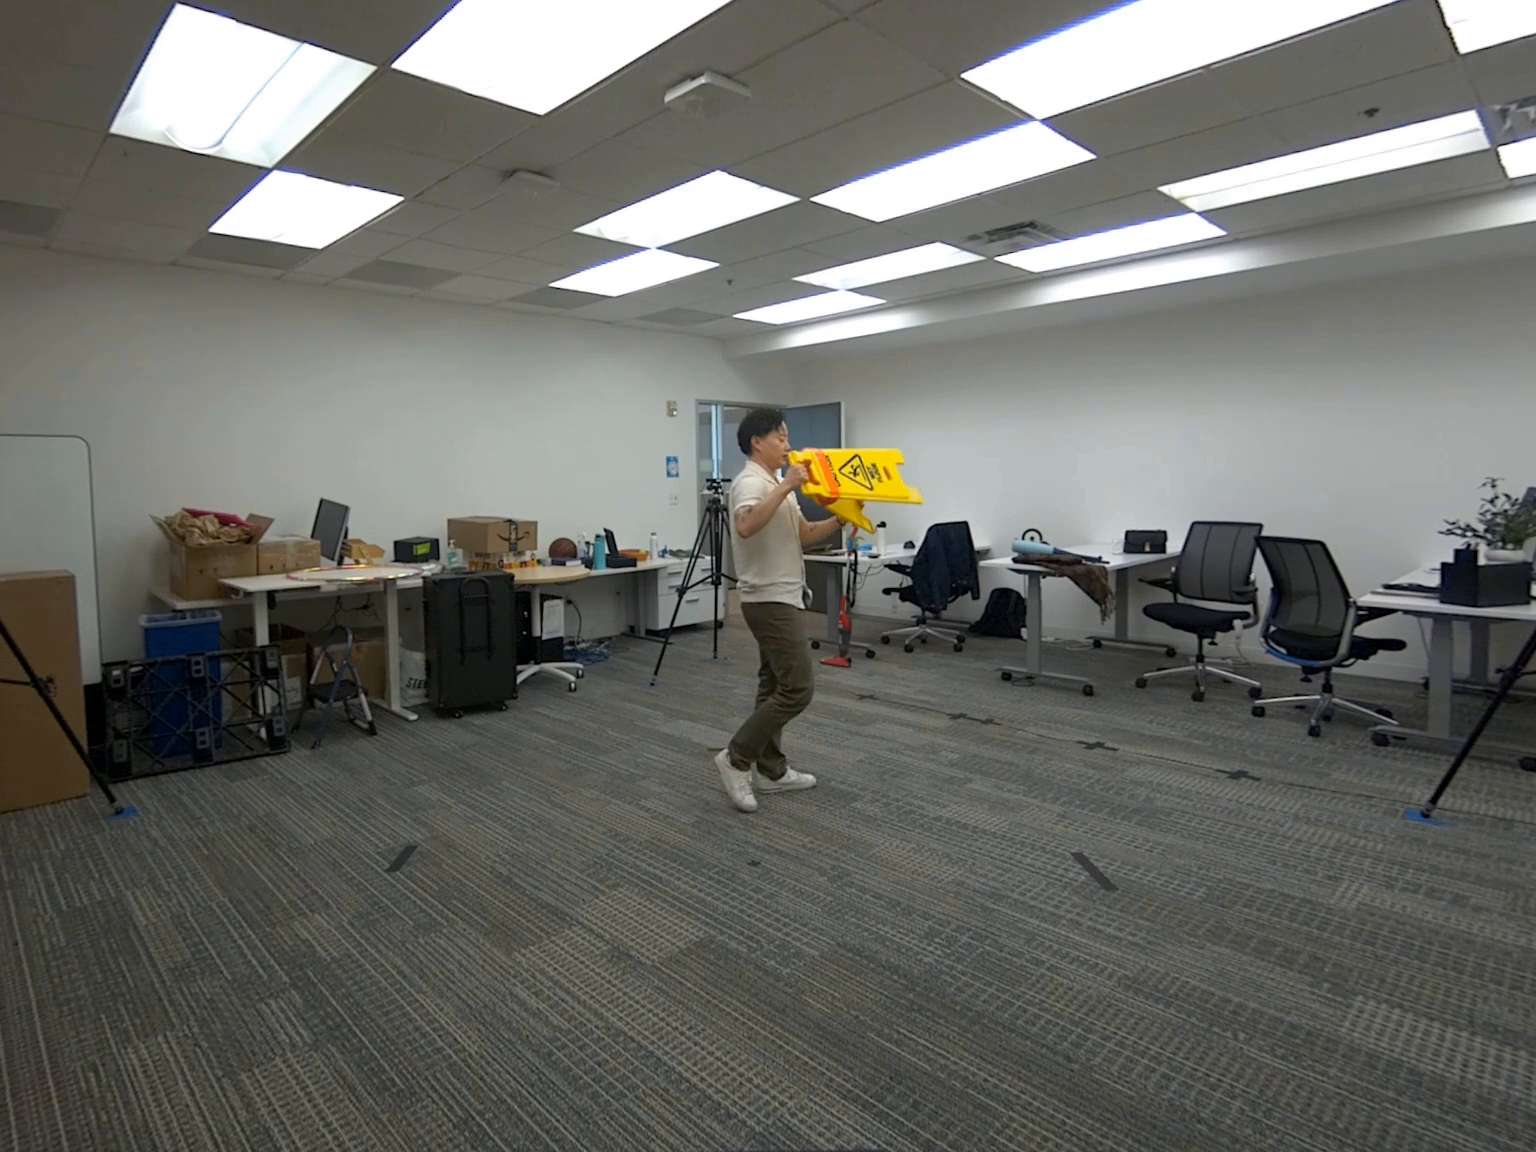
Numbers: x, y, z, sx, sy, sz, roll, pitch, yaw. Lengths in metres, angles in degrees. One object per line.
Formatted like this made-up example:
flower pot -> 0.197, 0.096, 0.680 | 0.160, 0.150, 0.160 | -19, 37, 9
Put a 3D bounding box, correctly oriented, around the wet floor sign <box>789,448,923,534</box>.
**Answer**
wet floor sign -> 0.312, -0.387, 3.570 | 0.626, 0.289, 0.292 | 5, -31, -46
